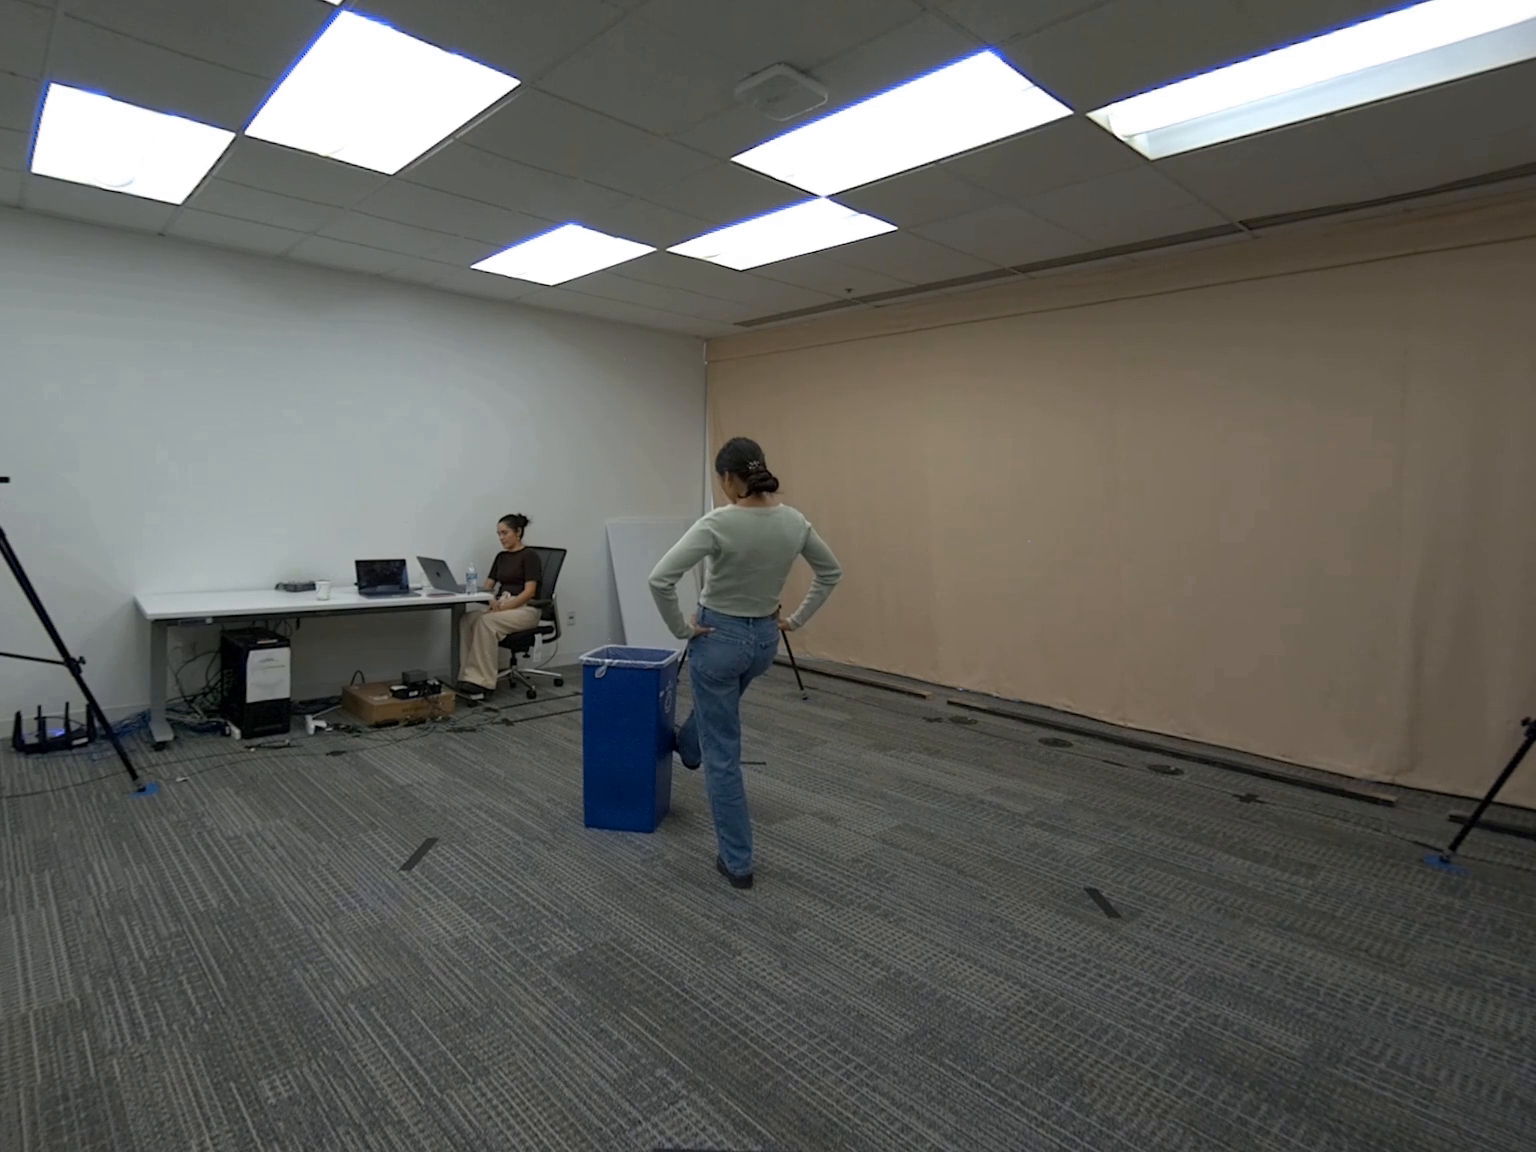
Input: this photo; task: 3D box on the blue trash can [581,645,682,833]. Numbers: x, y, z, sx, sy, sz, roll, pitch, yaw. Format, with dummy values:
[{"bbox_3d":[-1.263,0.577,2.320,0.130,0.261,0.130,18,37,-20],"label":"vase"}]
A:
[{"bbox_3d":[-0.598,0.690,3.625,0.377,0.712,0.376,2,3,9],"label":"blue trash can"}]
